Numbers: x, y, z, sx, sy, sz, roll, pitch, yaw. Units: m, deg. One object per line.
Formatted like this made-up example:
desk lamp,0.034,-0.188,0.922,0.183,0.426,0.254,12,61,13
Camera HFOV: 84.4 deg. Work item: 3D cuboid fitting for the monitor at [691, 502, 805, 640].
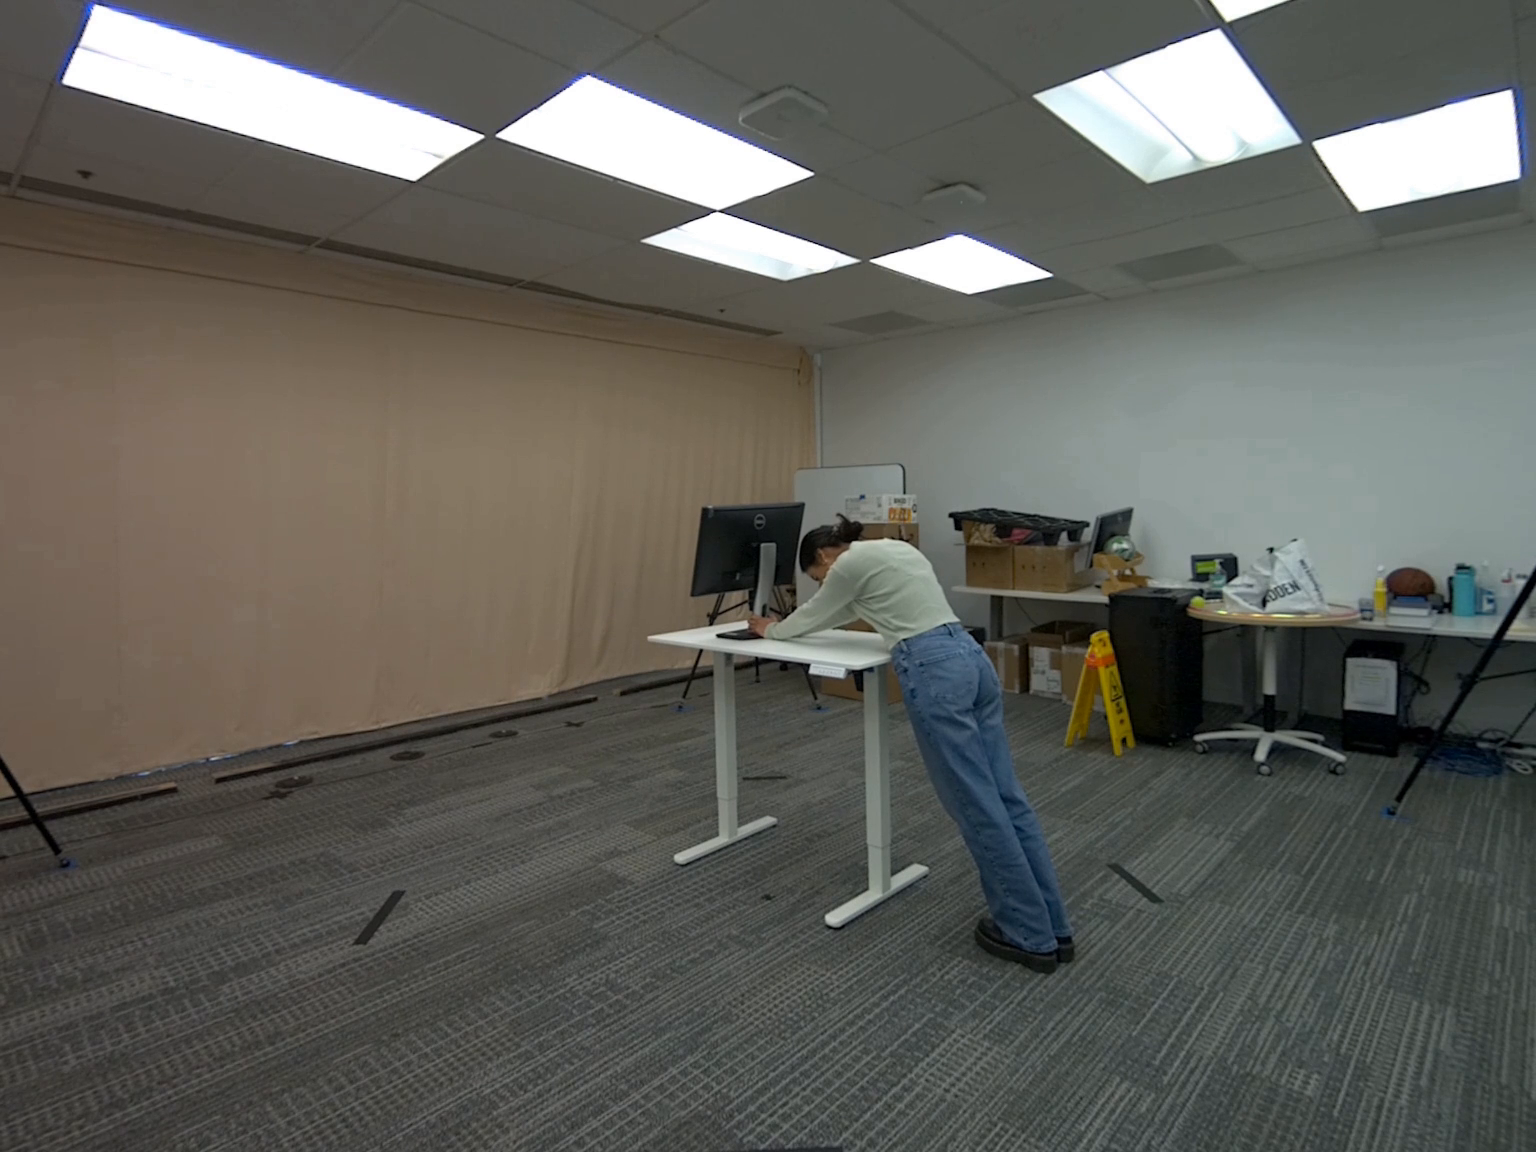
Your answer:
monitor,-0.050,-0.020,3.293,0.523,0.521,0.193,-6,8,-44
